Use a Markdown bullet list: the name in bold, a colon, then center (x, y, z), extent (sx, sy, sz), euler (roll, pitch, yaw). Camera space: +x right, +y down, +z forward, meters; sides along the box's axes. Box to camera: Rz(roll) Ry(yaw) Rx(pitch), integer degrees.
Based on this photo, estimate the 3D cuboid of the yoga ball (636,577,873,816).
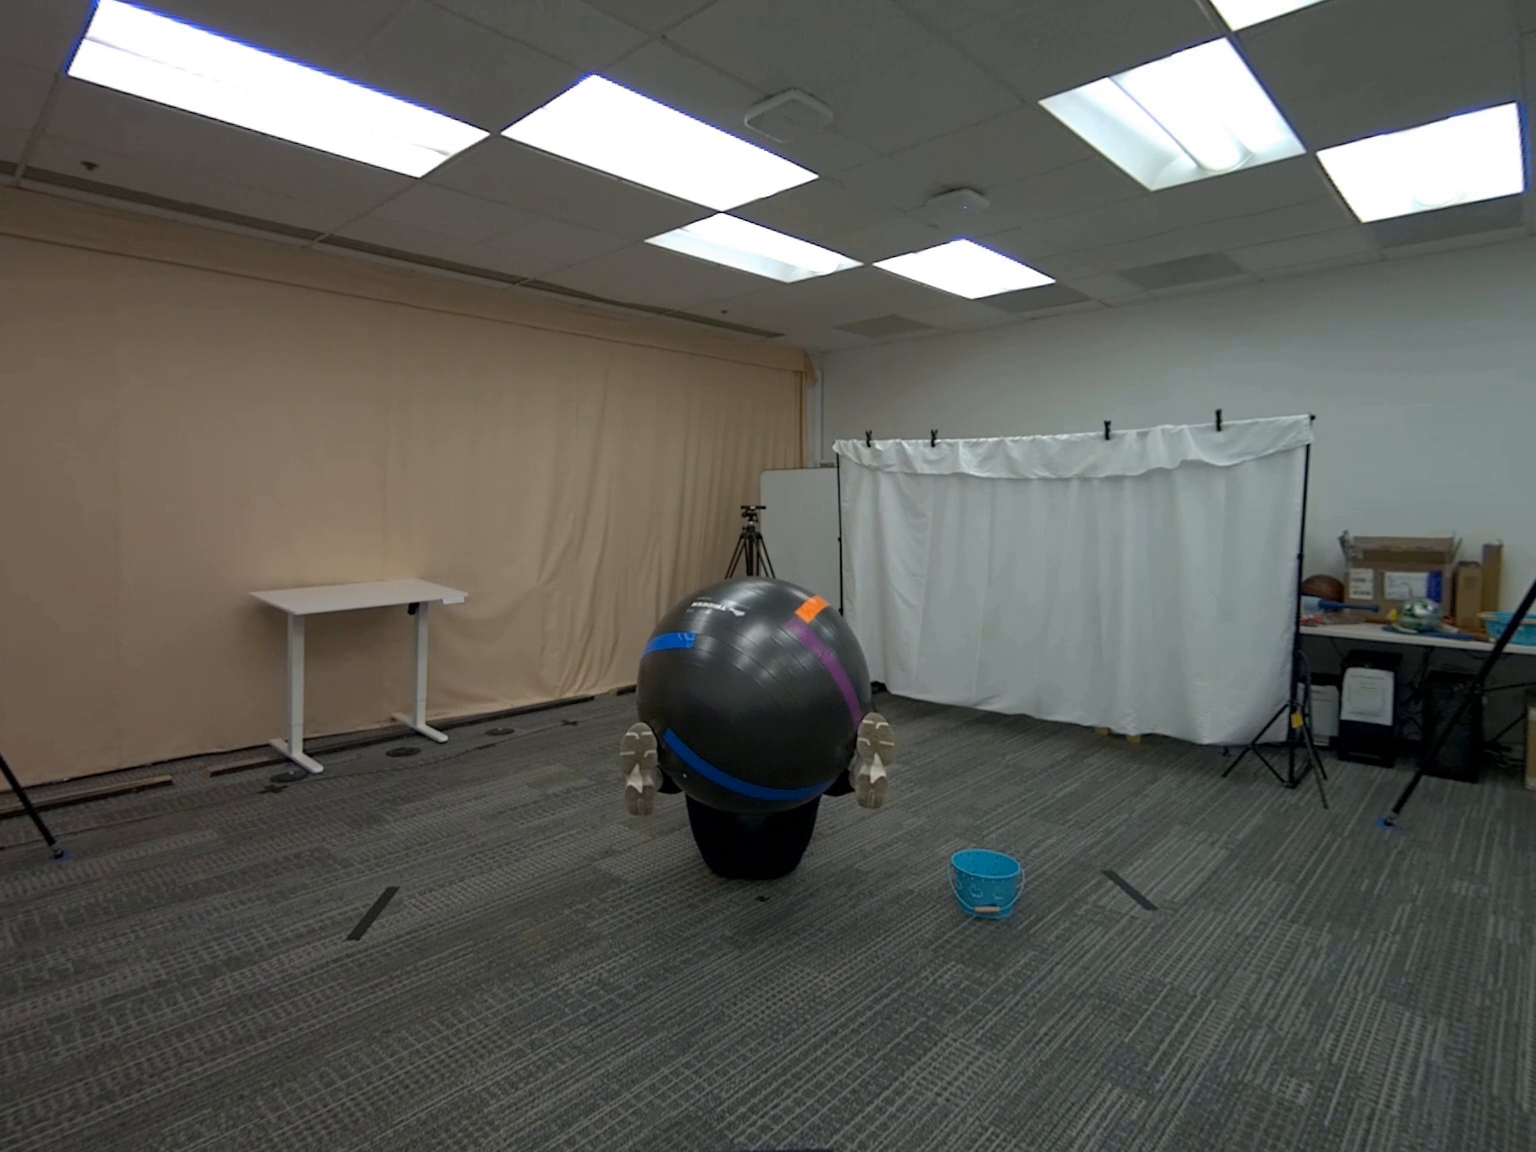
- **yoga ball**: center (-0.053, 0.381, 2.731), extent (0.757, 0.756, 0.760), euler (0, 4, -2)
